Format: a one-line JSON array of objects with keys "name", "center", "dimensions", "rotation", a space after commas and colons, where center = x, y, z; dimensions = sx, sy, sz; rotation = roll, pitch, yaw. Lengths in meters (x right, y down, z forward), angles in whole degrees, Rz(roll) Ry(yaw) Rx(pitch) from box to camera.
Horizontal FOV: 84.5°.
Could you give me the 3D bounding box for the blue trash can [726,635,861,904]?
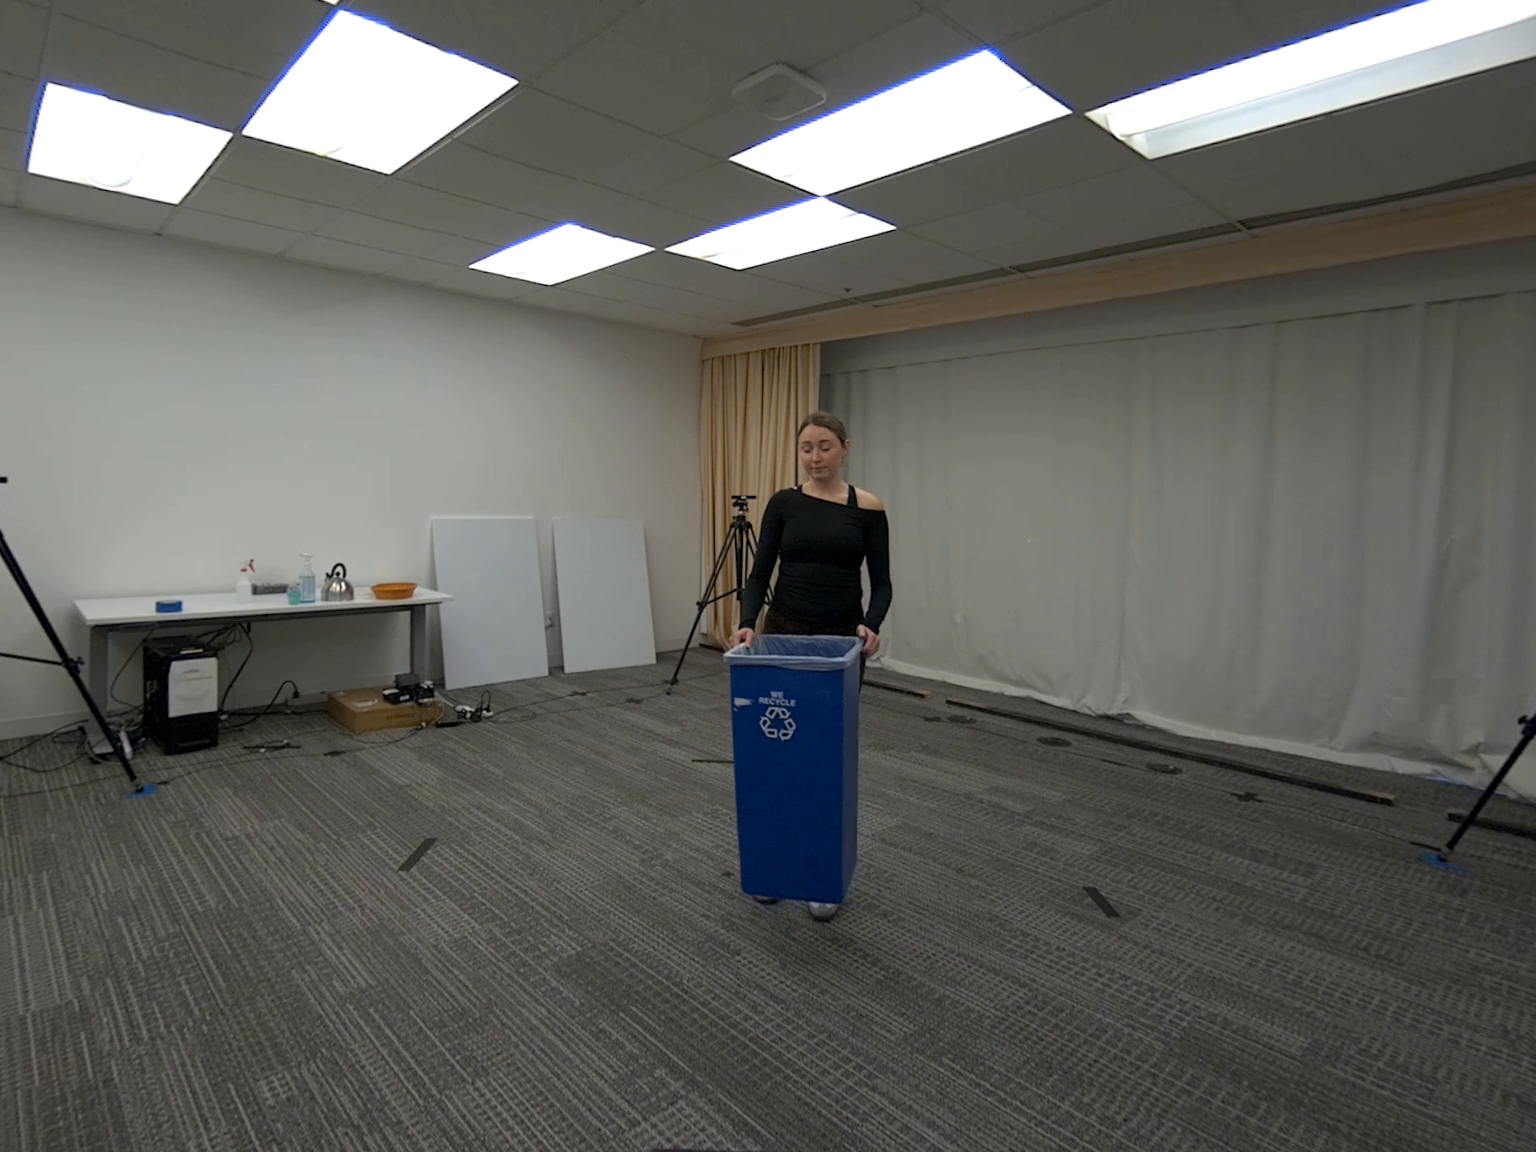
[{"name": "blue trash can", "center": [0.087, 0.573, 2.547], "dimensions": [0.379, 0.711, 0.375], "rotation": [-1, 5, 15]}]
